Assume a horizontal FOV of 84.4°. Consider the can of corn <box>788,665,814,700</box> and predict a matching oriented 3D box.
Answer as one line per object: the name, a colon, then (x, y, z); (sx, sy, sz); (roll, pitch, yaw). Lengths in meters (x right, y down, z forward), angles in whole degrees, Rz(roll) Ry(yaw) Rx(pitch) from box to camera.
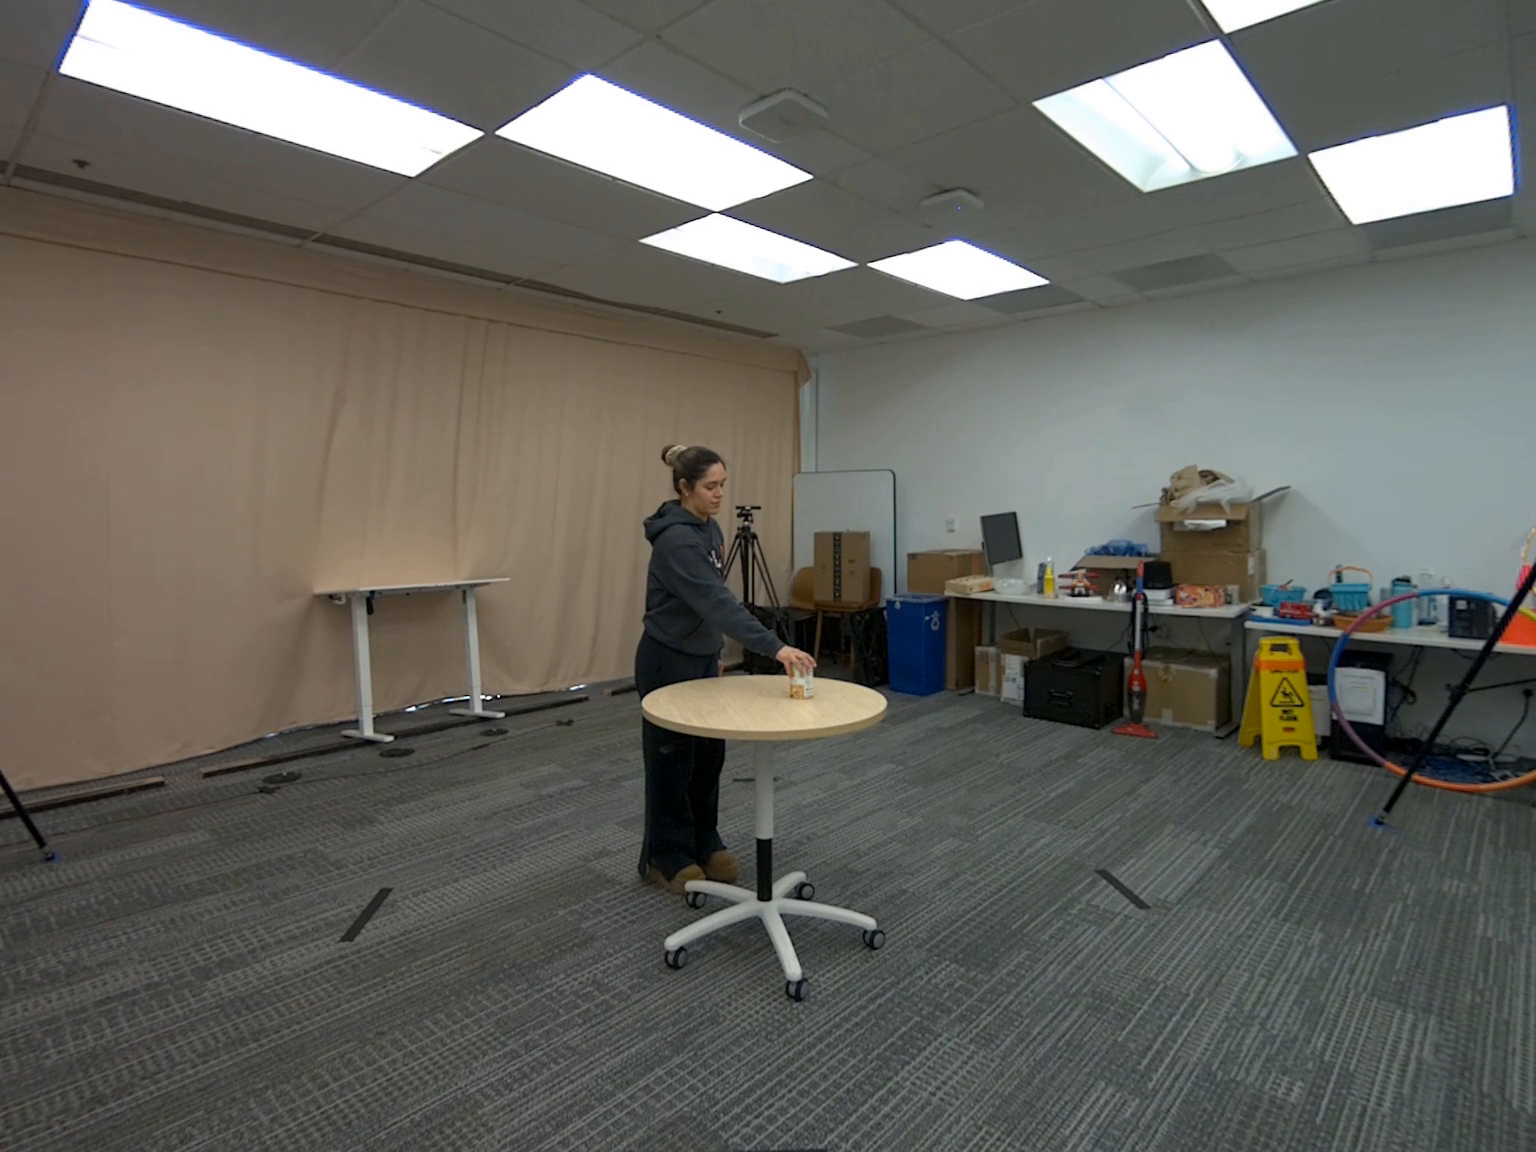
can of corn: (0.117, 0.328, 2.669); (0.074, 0.111, 0.074); (-5, 4, -1)
